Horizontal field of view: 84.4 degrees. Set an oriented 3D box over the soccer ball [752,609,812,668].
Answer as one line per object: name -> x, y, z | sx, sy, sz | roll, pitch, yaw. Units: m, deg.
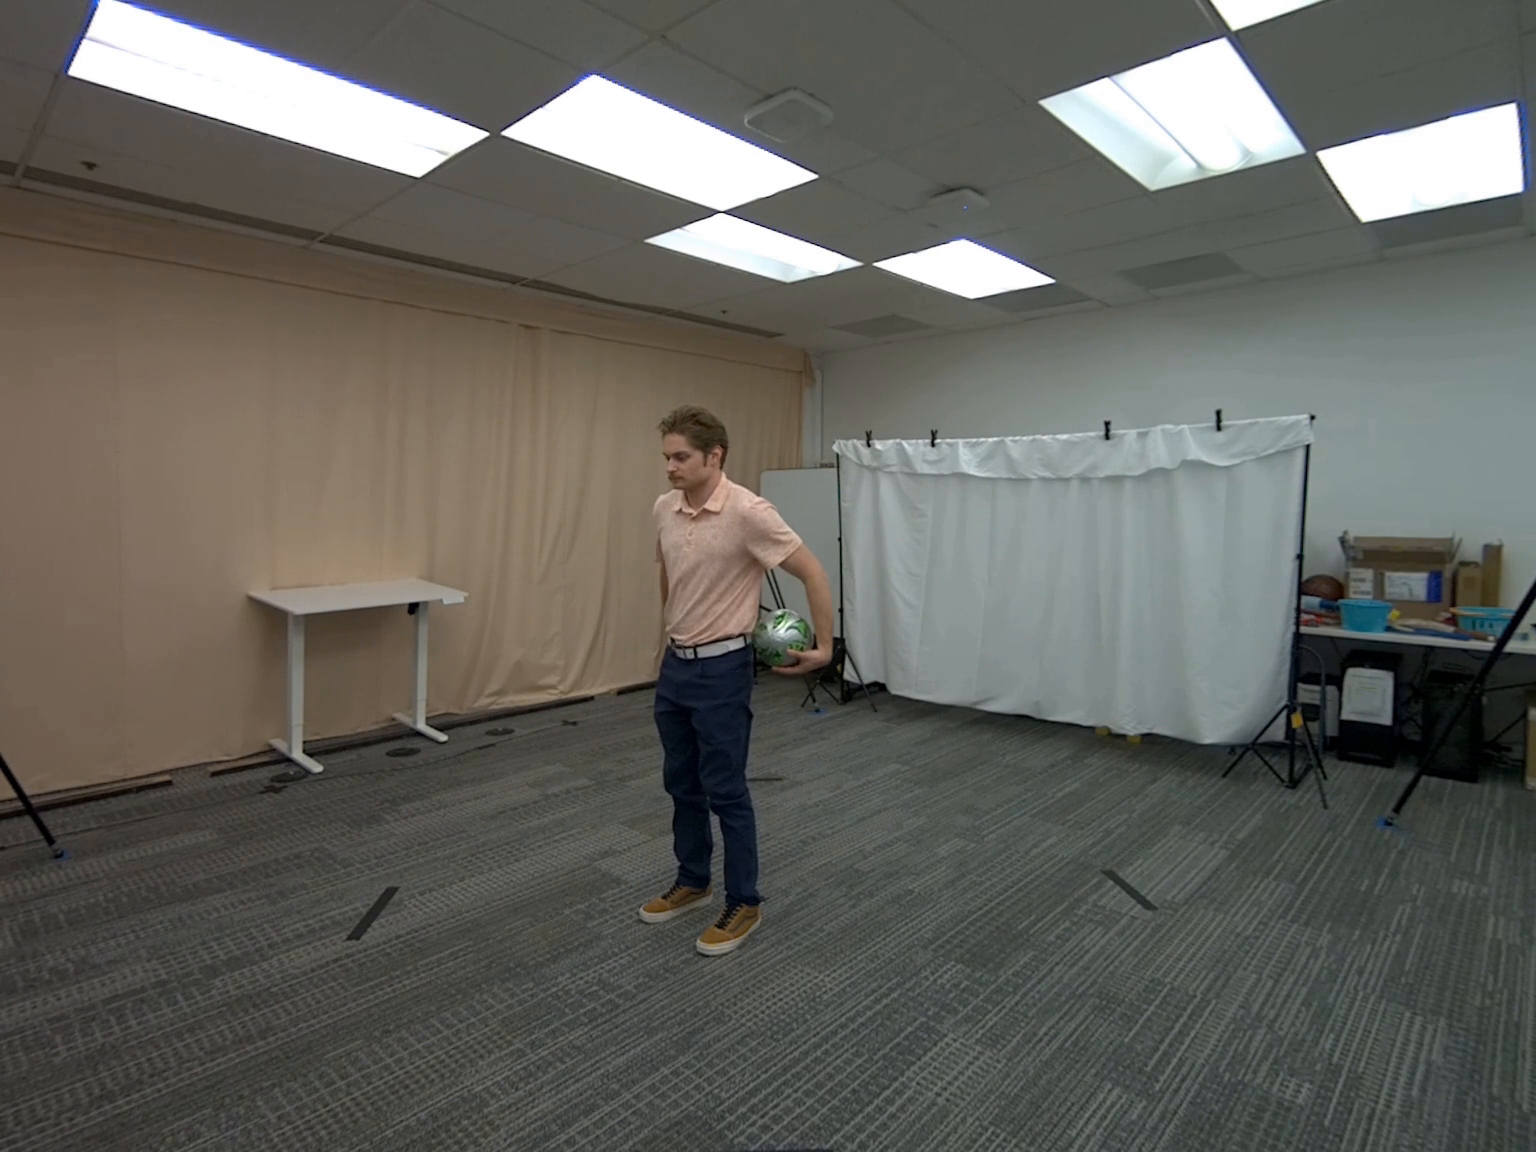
soccer ball -> 0.047, 0.195, 2.657 | 0.187, 0.187, 0.188 | 0, 4, -2
